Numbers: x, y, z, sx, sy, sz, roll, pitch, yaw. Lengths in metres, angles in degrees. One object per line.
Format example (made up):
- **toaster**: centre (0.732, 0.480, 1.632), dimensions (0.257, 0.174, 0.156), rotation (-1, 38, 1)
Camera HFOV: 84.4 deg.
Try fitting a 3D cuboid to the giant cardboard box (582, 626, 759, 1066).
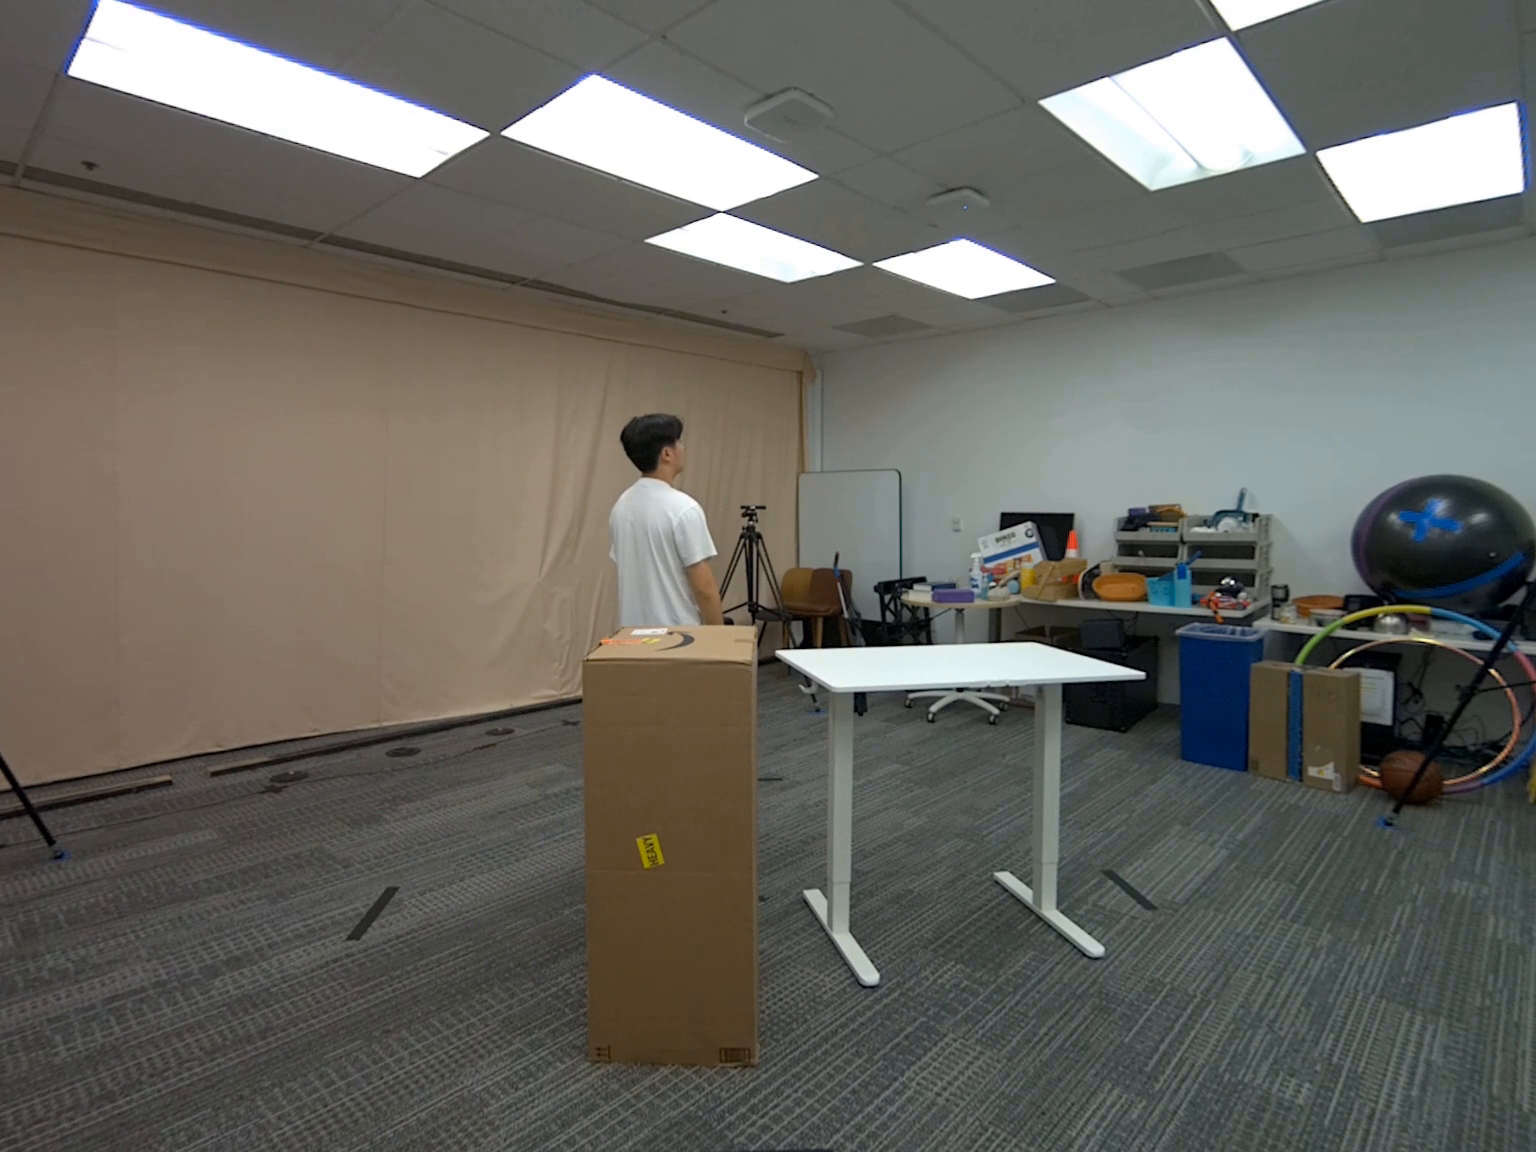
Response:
- **giant cardboard box**: centre (-0.243, 0.690, 2.351), dimensions (0.427, 1.024, 0.577), rotation (0, 3, 1)
